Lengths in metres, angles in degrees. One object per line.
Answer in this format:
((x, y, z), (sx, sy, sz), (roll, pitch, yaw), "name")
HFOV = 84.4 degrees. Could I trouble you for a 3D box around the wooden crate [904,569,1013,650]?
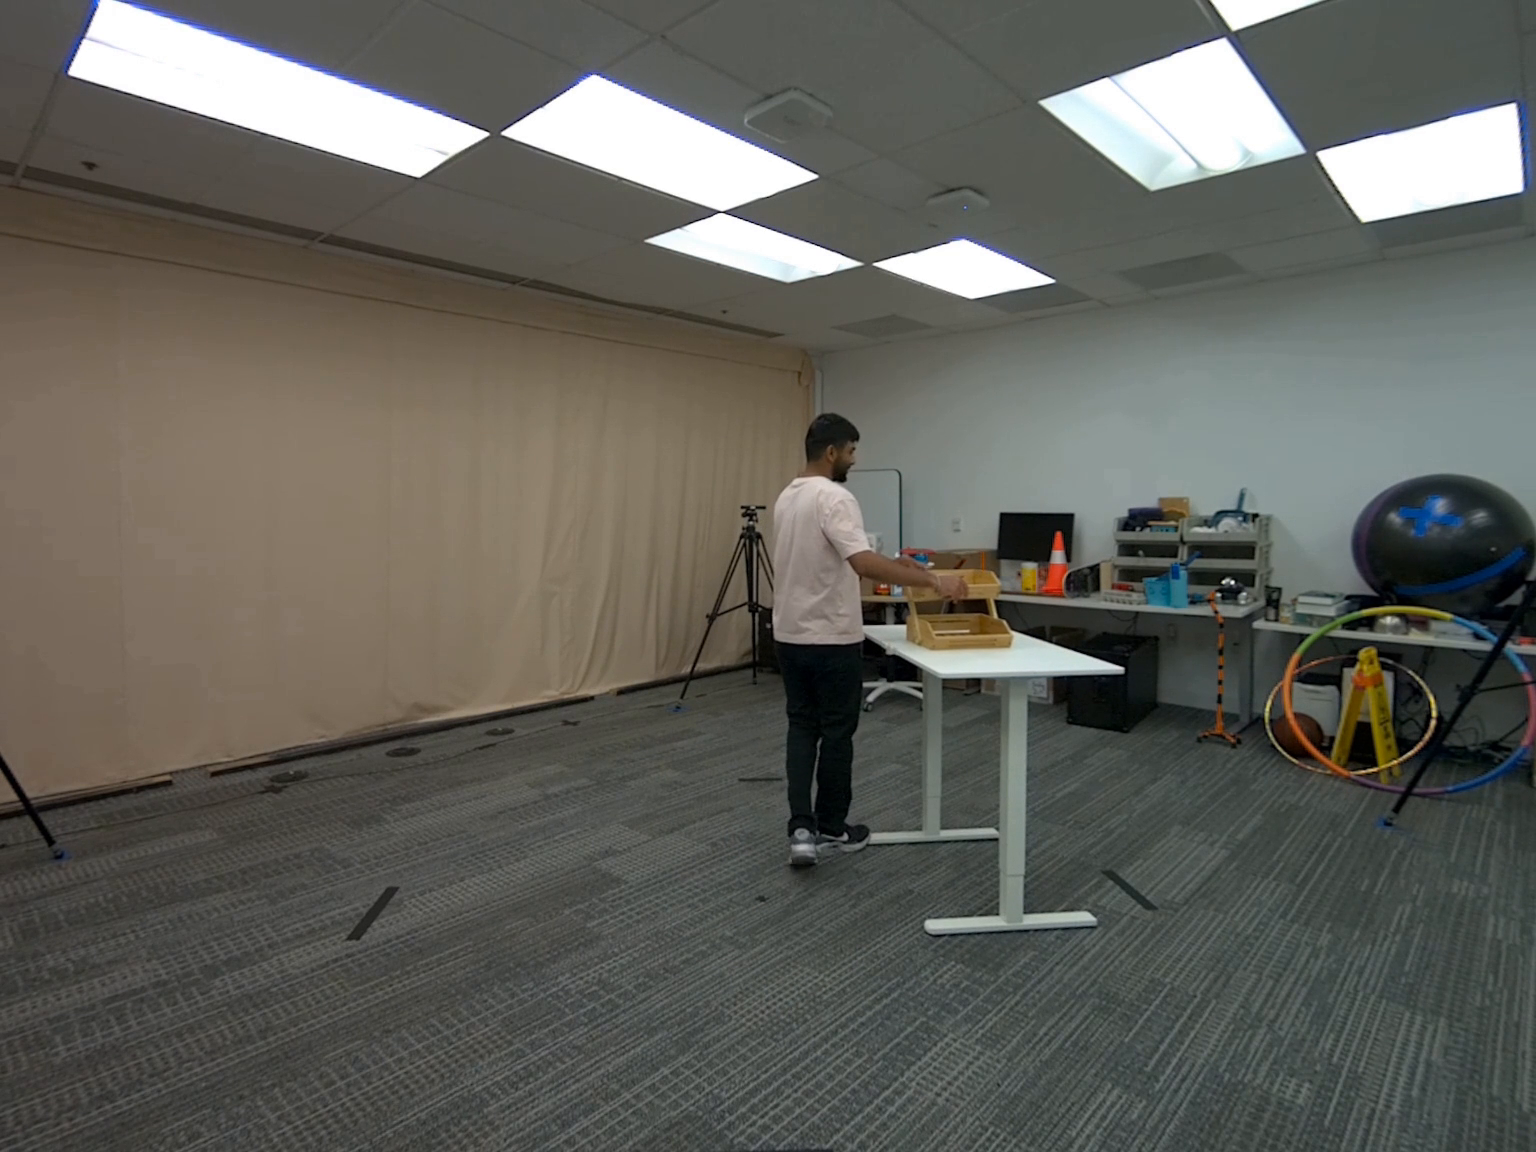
((0.707, 0.117, 3.107), (0.321, 0.273, 0.306), (-1, 1, -12), "wooden crate")
